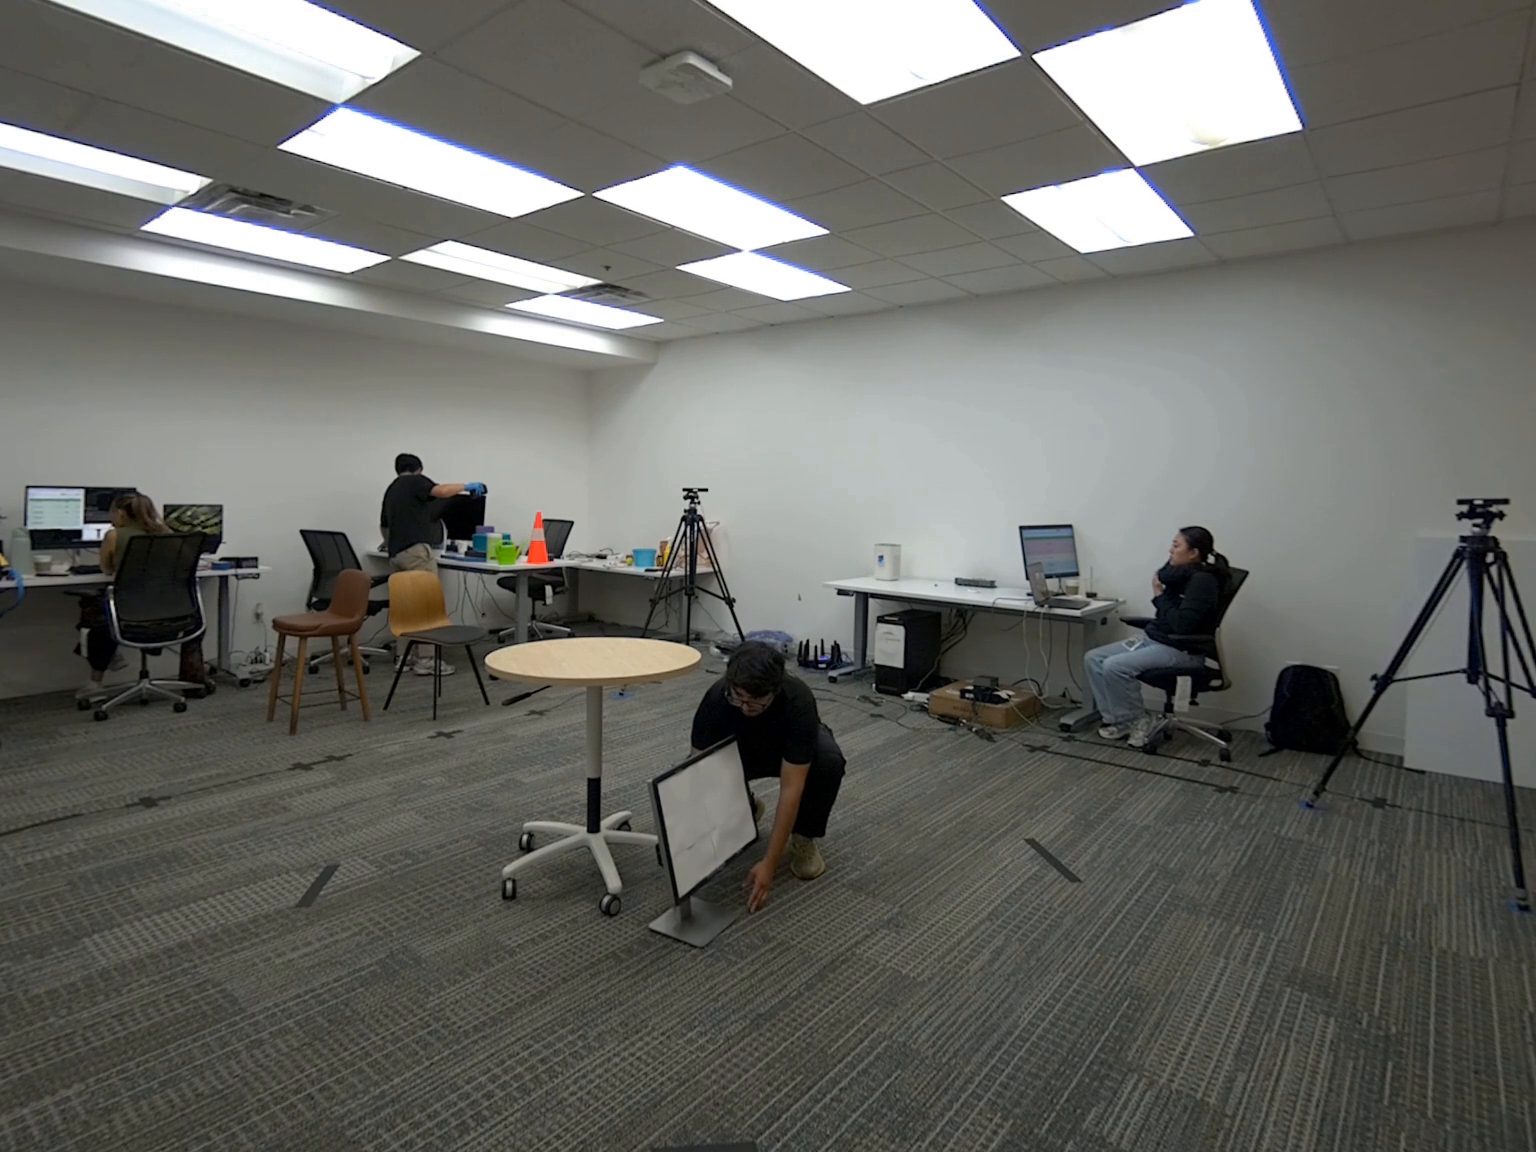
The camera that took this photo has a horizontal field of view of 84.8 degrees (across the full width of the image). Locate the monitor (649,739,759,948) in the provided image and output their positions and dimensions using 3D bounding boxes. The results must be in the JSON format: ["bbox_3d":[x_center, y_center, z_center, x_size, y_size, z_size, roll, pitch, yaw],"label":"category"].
[{"bbox_3d":[-0.253,0.841,2.713,0.215,0.554,0.552,-5,1,25],"label":"monitor"}]
